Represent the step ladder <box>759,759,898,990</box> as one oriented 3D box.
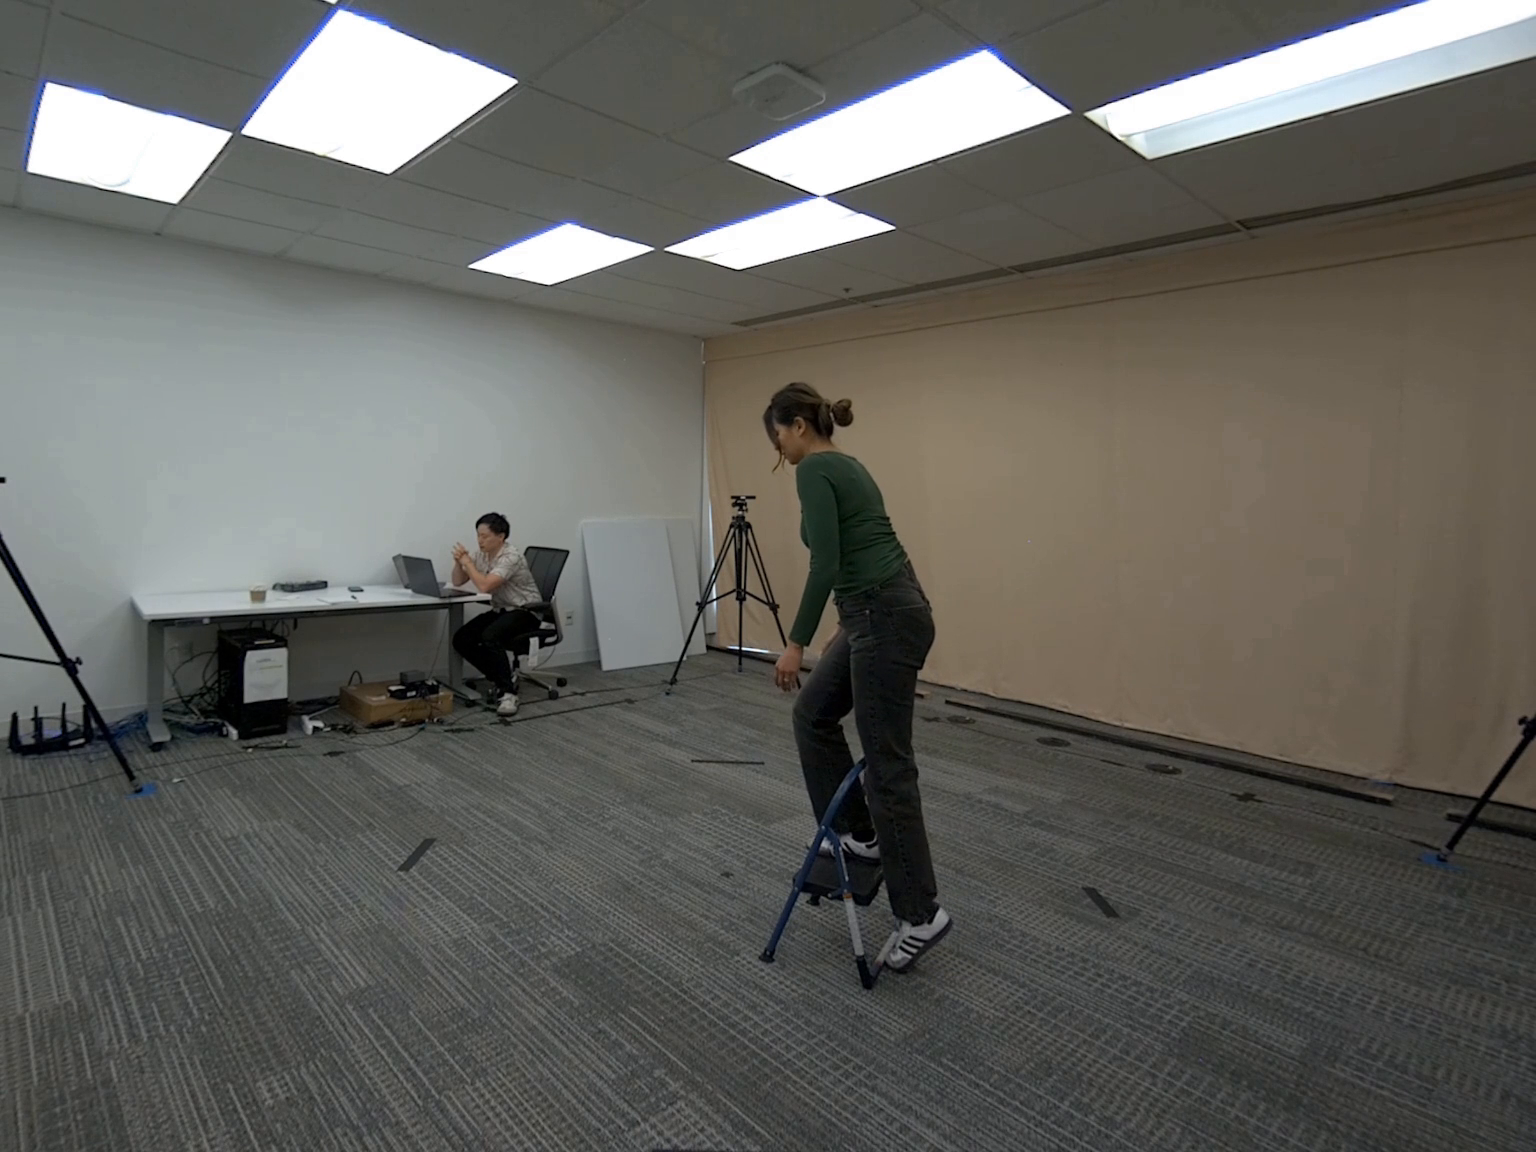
[{"bbox_3d":[0.217,0.851,2.627,0.356,0.604,0.423,3,4,24],"label":"step ladder"}]
